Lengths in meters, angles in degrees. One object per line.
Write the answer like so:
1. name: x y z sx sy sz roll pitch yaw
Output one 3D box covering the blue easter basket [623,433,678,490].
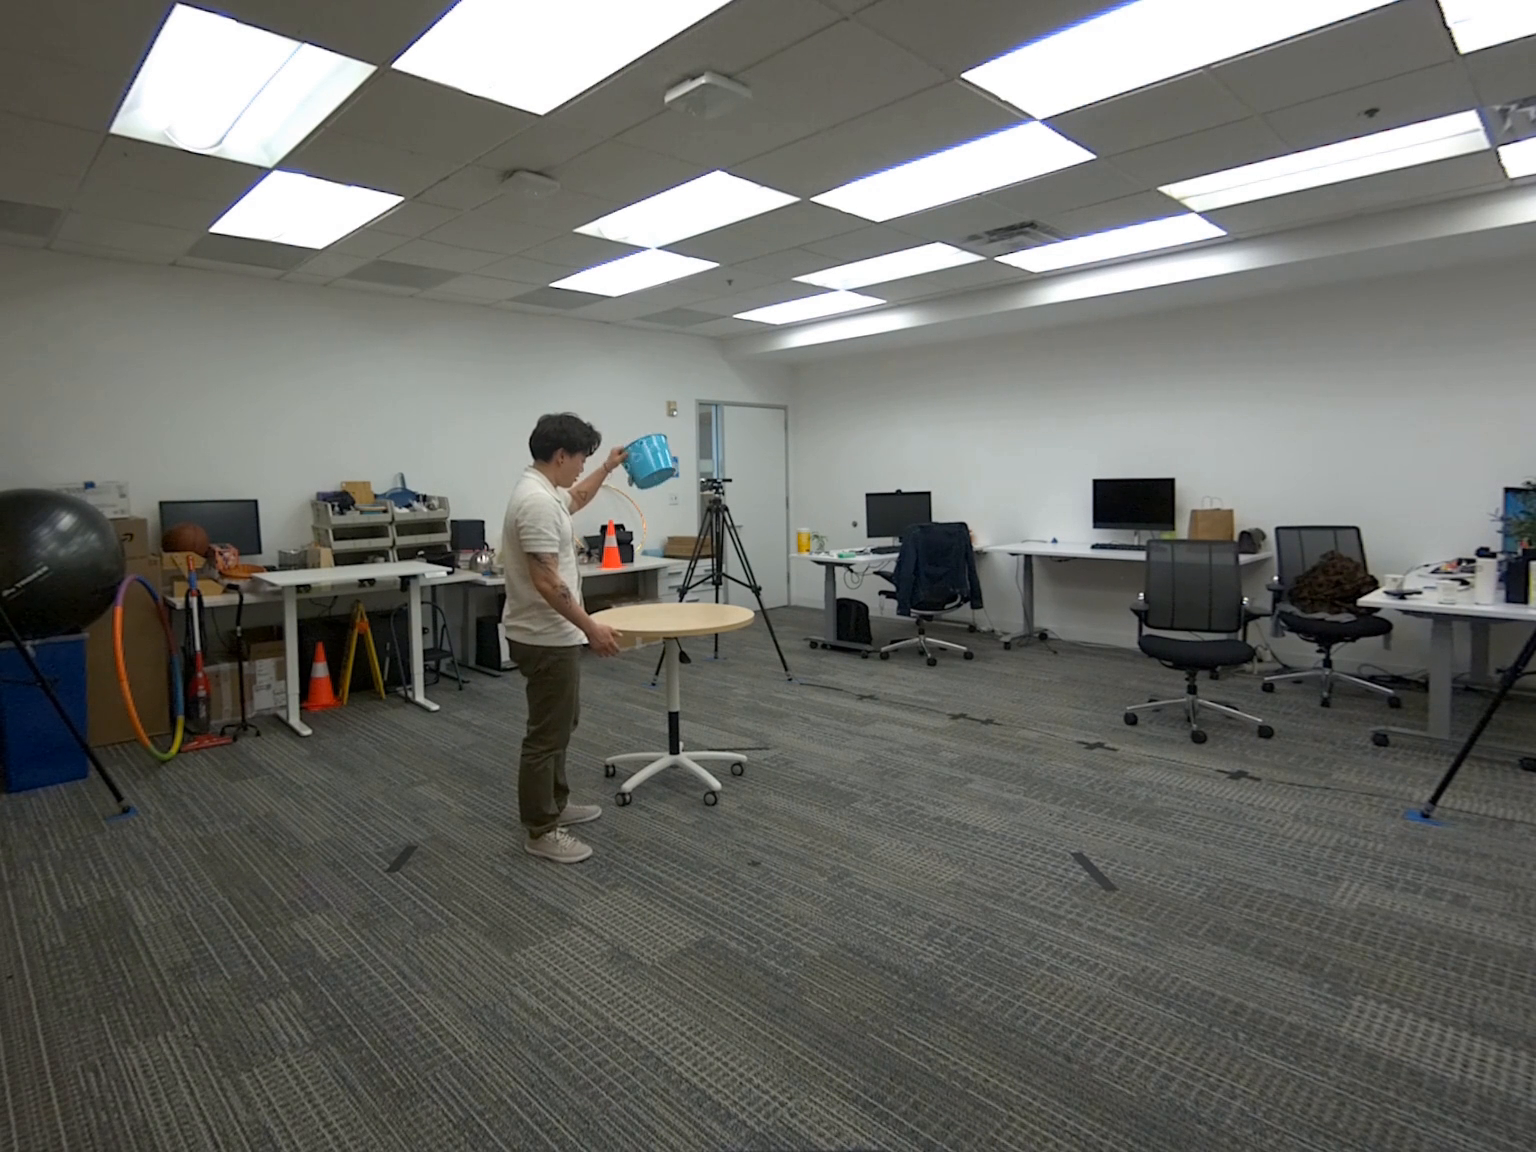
1. blue easter basket: -0.519 -0.468 3.658 0.243 0.158 0.241 -24 -11 -7
